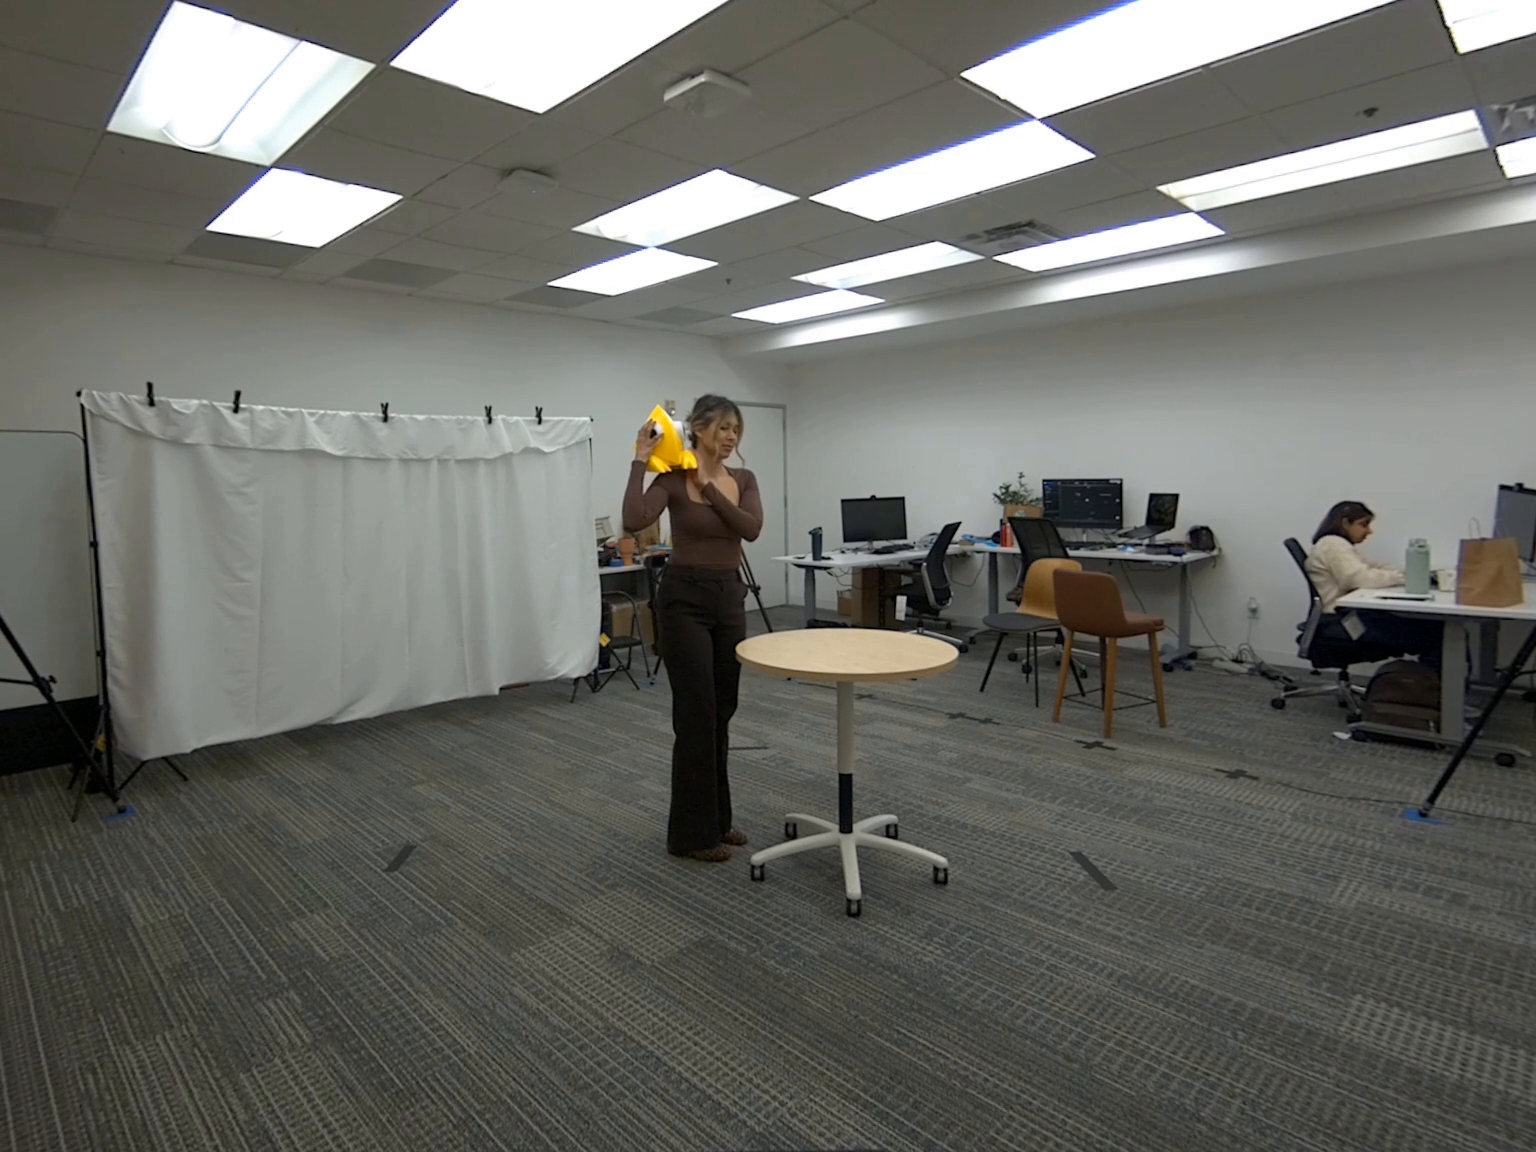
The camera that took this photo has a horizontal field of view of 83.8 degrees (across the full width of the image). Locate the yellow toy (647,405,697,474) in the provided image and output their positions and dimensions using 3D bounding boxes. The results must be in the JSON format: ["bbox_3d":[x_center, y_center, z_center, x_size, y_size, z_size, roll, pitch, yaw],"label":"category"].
[{"bbox_3d":[-0.375,-0.513,3.150,0.201,0.227,0.199,-11,17,-30],"label":"yellow toy"}]
